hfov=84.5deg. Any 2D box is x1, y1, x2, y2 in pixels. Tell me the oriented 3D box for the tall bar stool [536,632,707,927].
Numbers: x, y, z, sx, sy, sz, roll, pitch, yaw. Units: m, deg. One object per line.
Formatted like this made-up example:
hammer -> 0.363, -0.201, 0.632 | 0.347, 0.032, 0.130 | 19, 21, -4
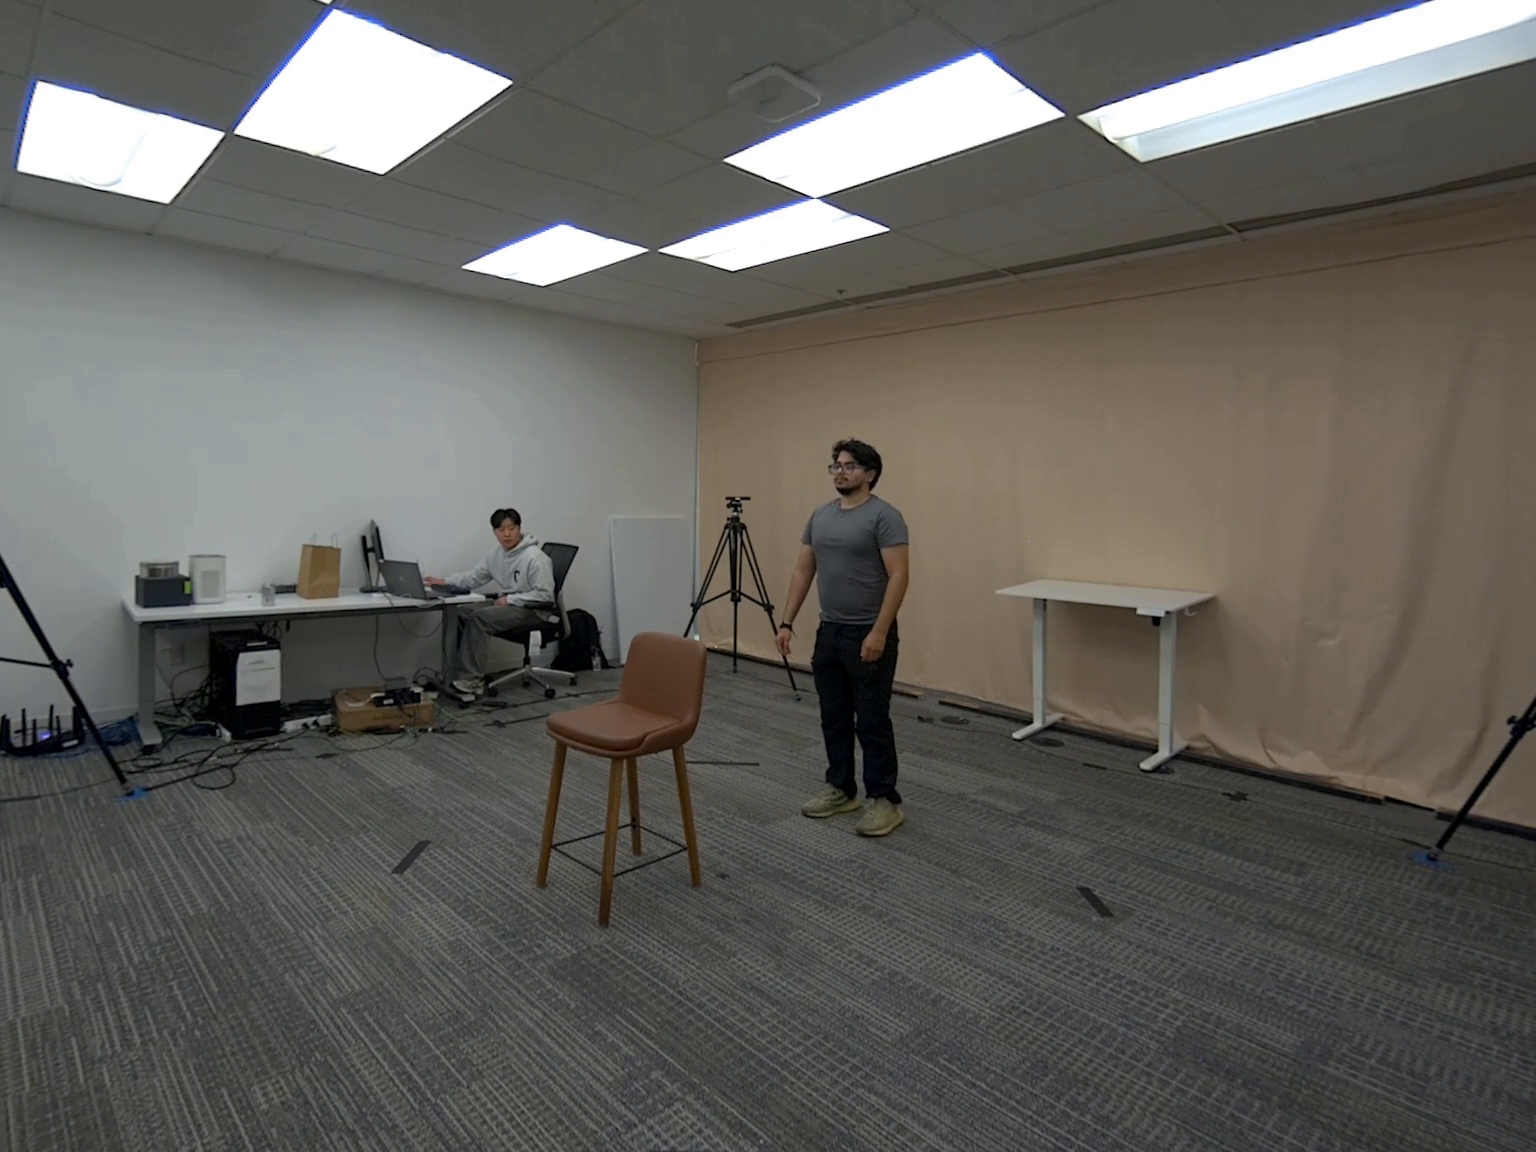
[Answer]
tall bar stool -> -0.517, 0.676, 2.982 | 0.468, 0.888, 0.456 | 4, 3, 45
